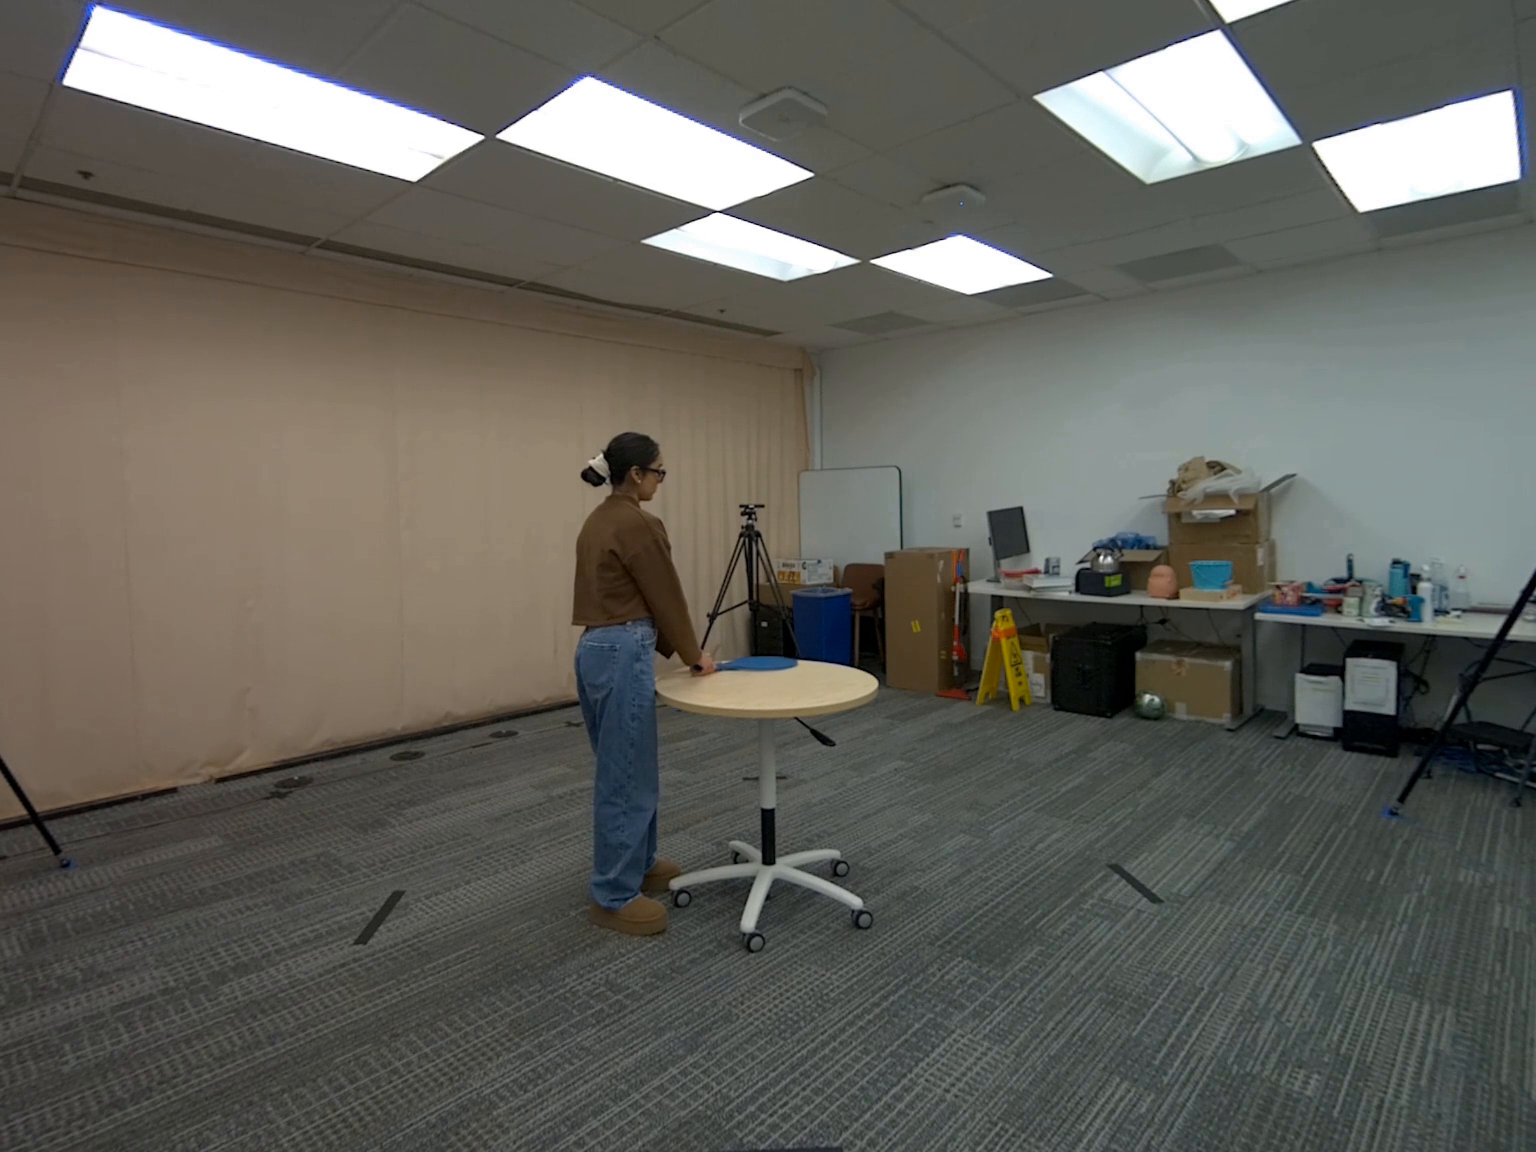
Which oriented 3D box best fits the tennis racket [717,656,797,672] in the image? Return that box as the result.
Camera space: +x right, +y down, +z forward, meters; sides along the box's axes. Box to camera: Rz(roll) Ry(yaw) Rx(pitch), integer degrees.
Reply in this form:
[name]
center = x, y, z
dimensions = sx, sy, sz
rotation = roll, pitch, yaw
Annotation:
[tennis racket]
center = -0.089, 0.333, 3.138
dimensions = 0.424, 0.032, 0.219
rotation = 1, 6, -20
